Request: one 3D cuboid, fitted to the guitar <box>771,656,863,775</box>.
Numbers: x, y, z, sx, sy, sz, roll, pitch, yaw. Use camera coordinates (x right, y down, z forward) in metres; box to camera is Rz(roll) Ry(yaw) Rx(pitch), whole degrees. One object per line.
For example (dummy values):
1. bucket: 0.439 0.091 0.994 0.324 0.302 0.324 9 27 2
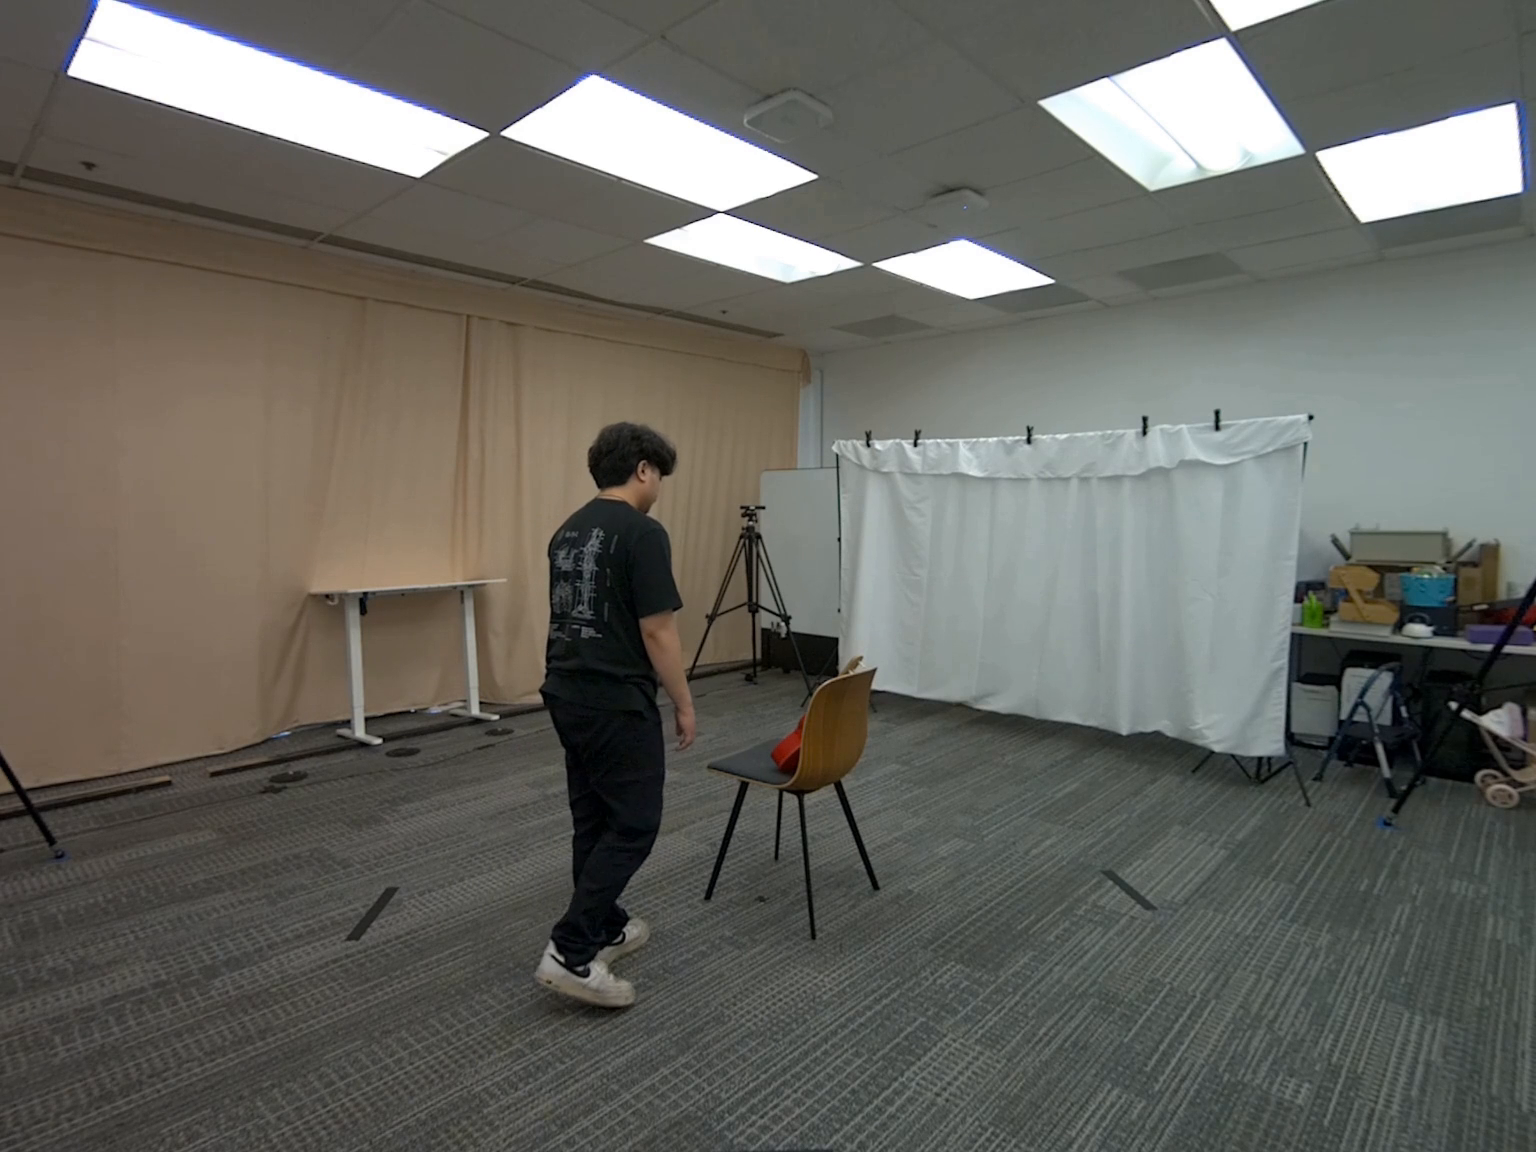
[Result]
1. guitar: 0.173 0.470 2.854 0.187 0.497 0.073 -6 44 -47
